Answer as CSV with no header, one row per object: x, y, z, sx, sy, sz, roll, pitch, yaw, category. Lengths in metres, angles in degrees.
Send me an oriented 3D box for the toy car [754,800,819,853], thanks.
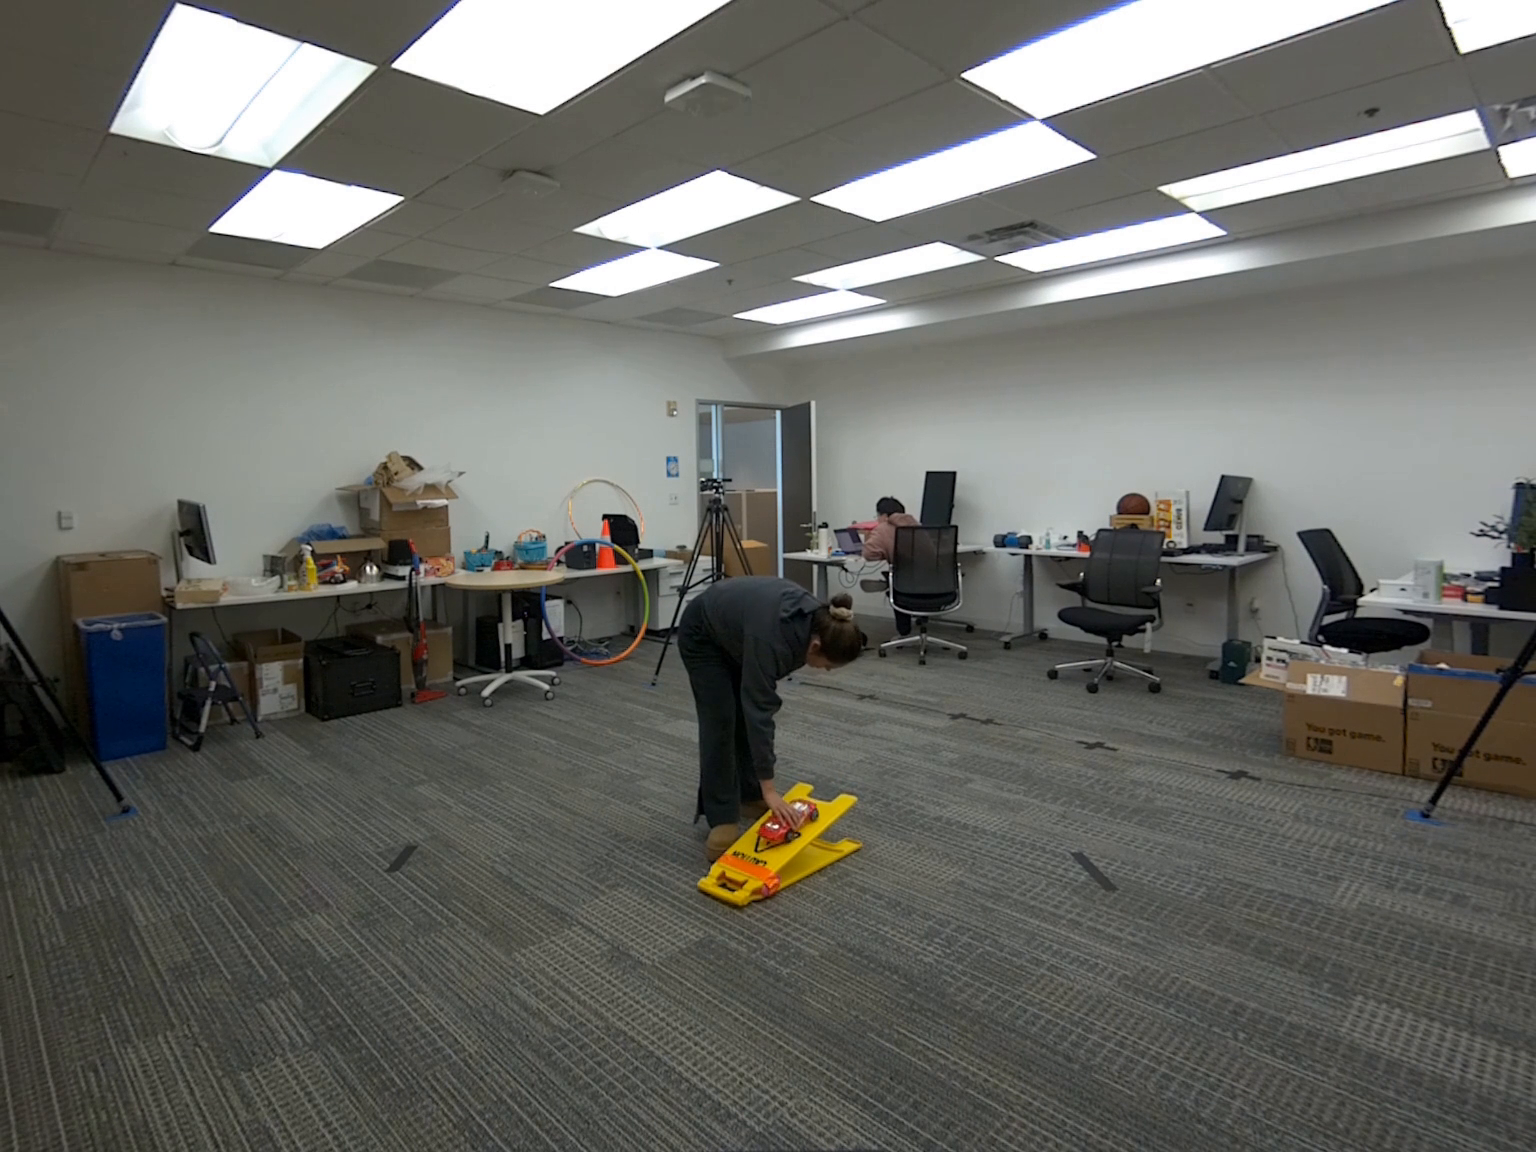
0.070,0.888,3.043,0.134,0.082,0.249,4,12,44,toy car
